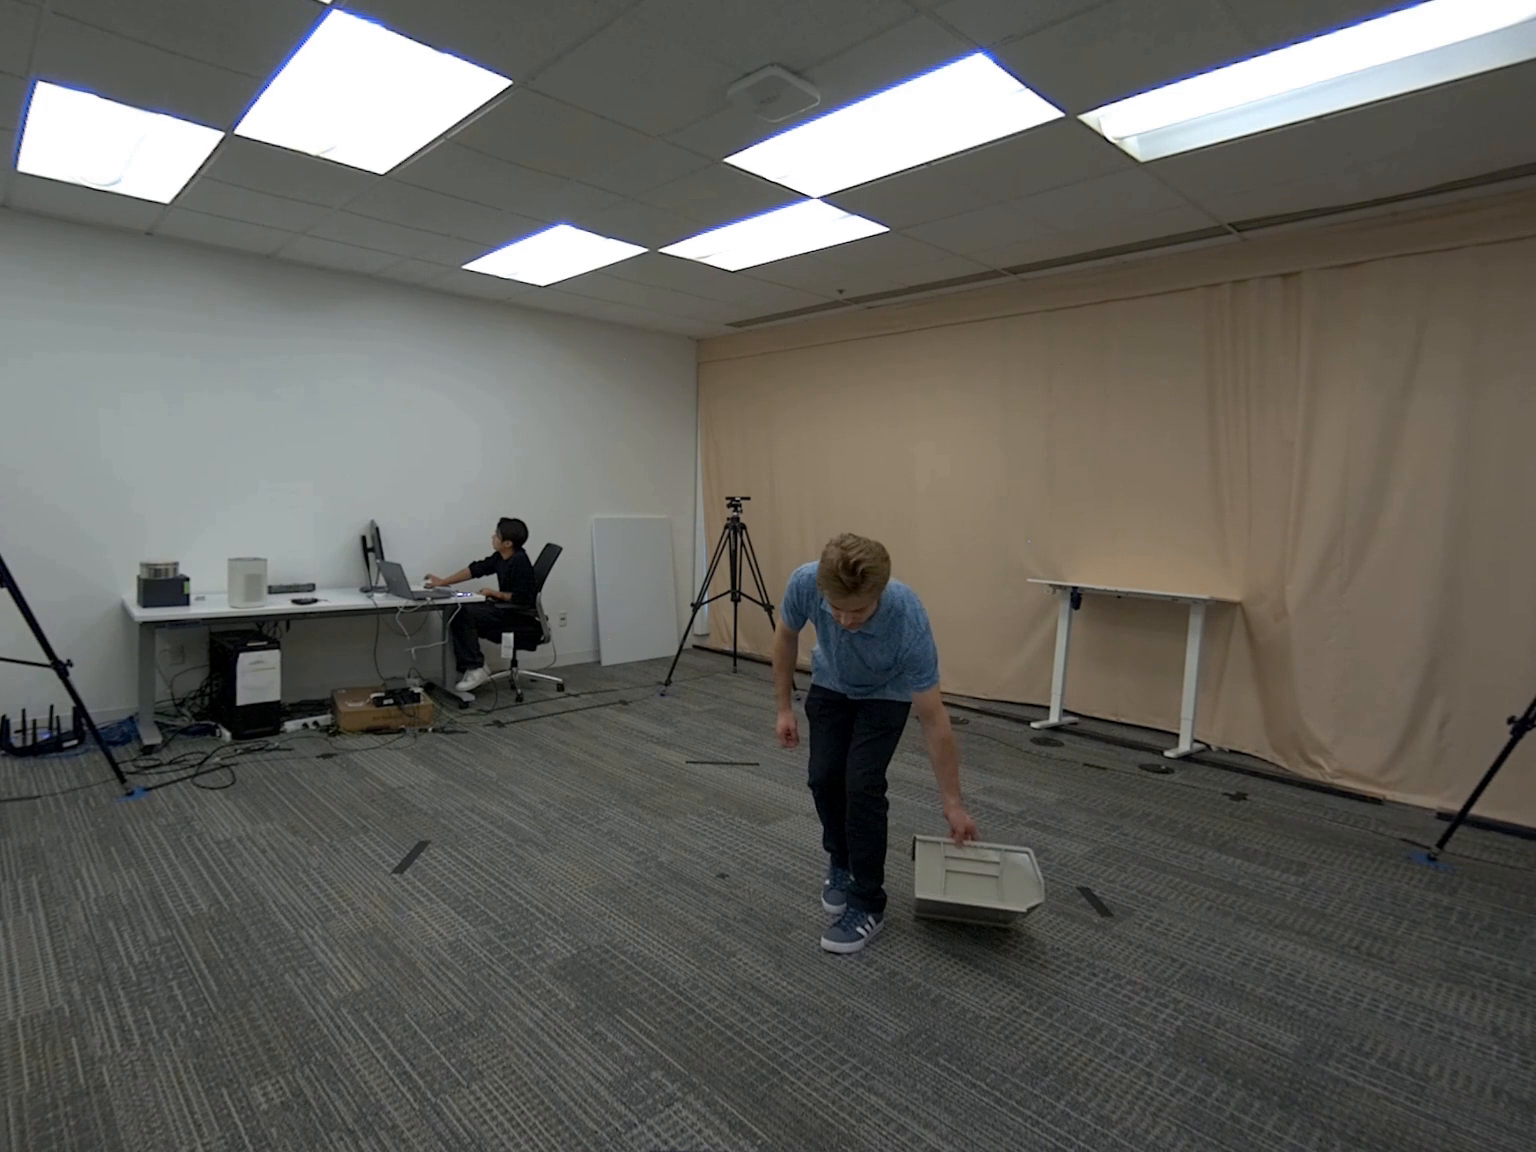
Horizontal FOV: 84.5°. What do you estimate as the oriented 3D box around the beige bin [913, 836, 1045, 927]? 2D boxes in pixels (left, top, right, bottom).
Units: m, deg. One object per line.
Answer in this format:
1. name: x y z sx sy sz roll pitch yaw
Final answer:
1. beige bin: 0.646 0.982 2.666 0.381 0.192 0.412 2 -28 10
